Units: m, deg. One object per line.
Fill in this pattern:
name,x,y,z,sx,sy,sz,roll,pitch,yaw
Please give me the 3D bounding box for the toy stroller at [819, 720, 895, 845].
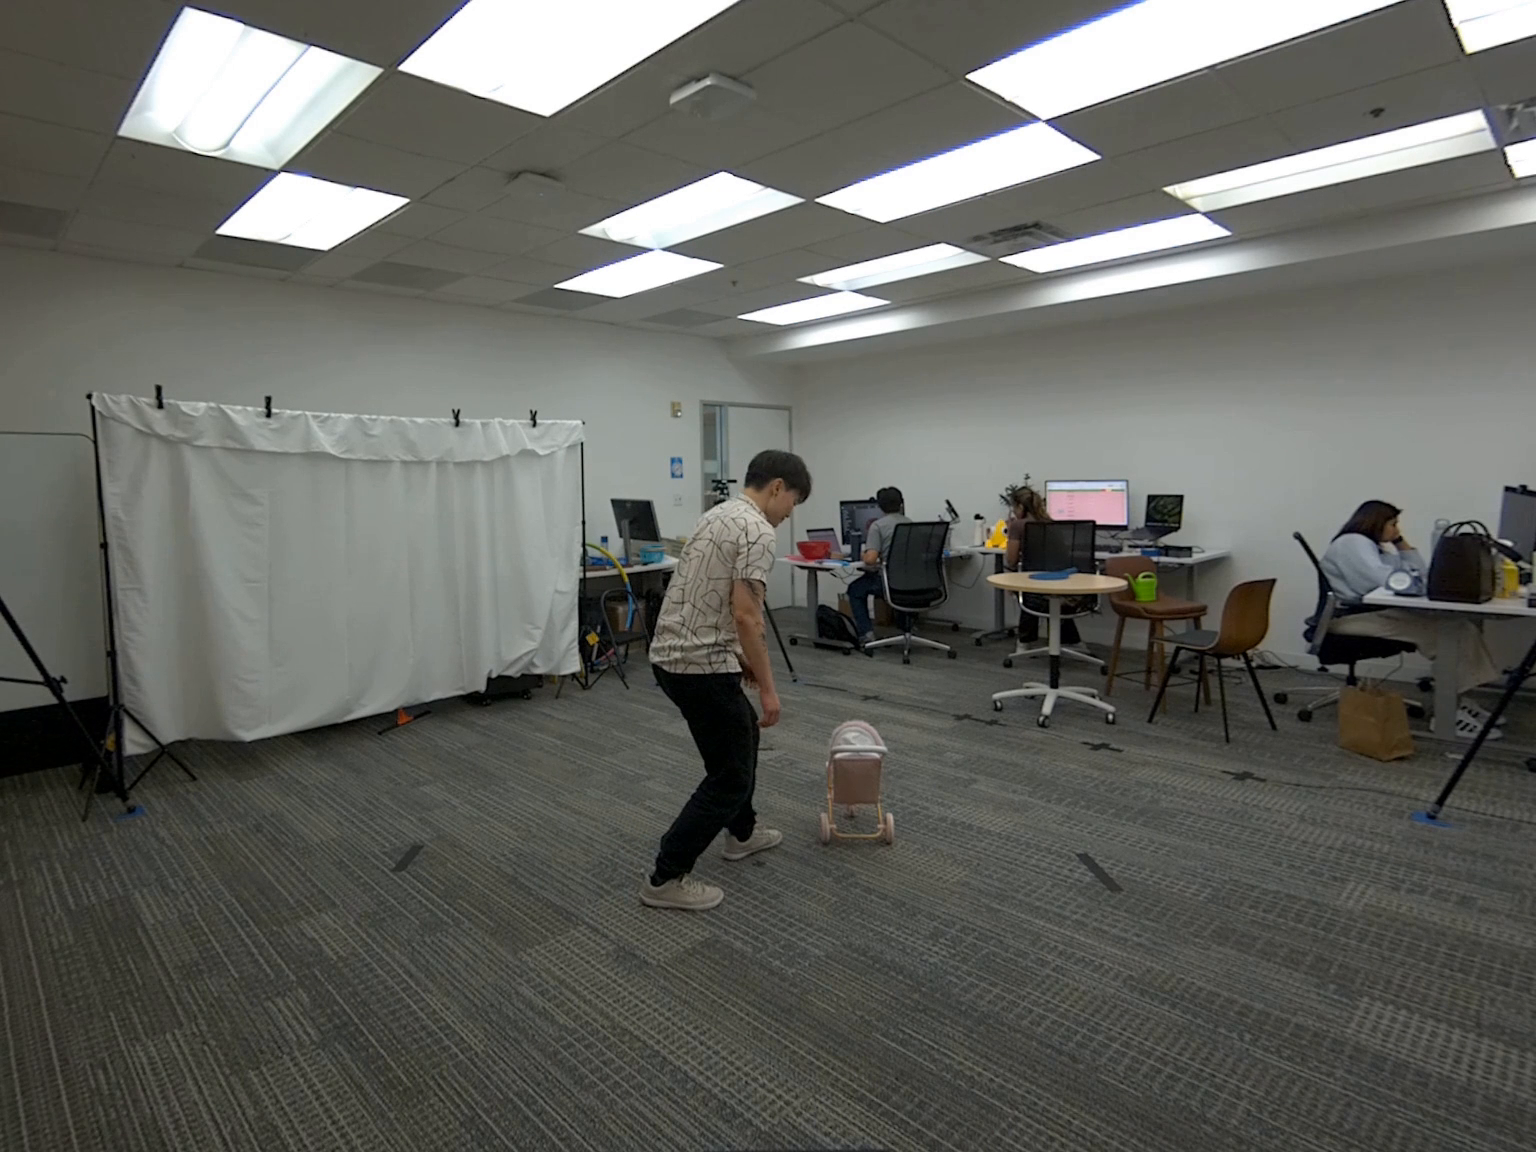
toy stroller,0.341,0.793,3.332,0.283,0.525,0.346,0,21,5
